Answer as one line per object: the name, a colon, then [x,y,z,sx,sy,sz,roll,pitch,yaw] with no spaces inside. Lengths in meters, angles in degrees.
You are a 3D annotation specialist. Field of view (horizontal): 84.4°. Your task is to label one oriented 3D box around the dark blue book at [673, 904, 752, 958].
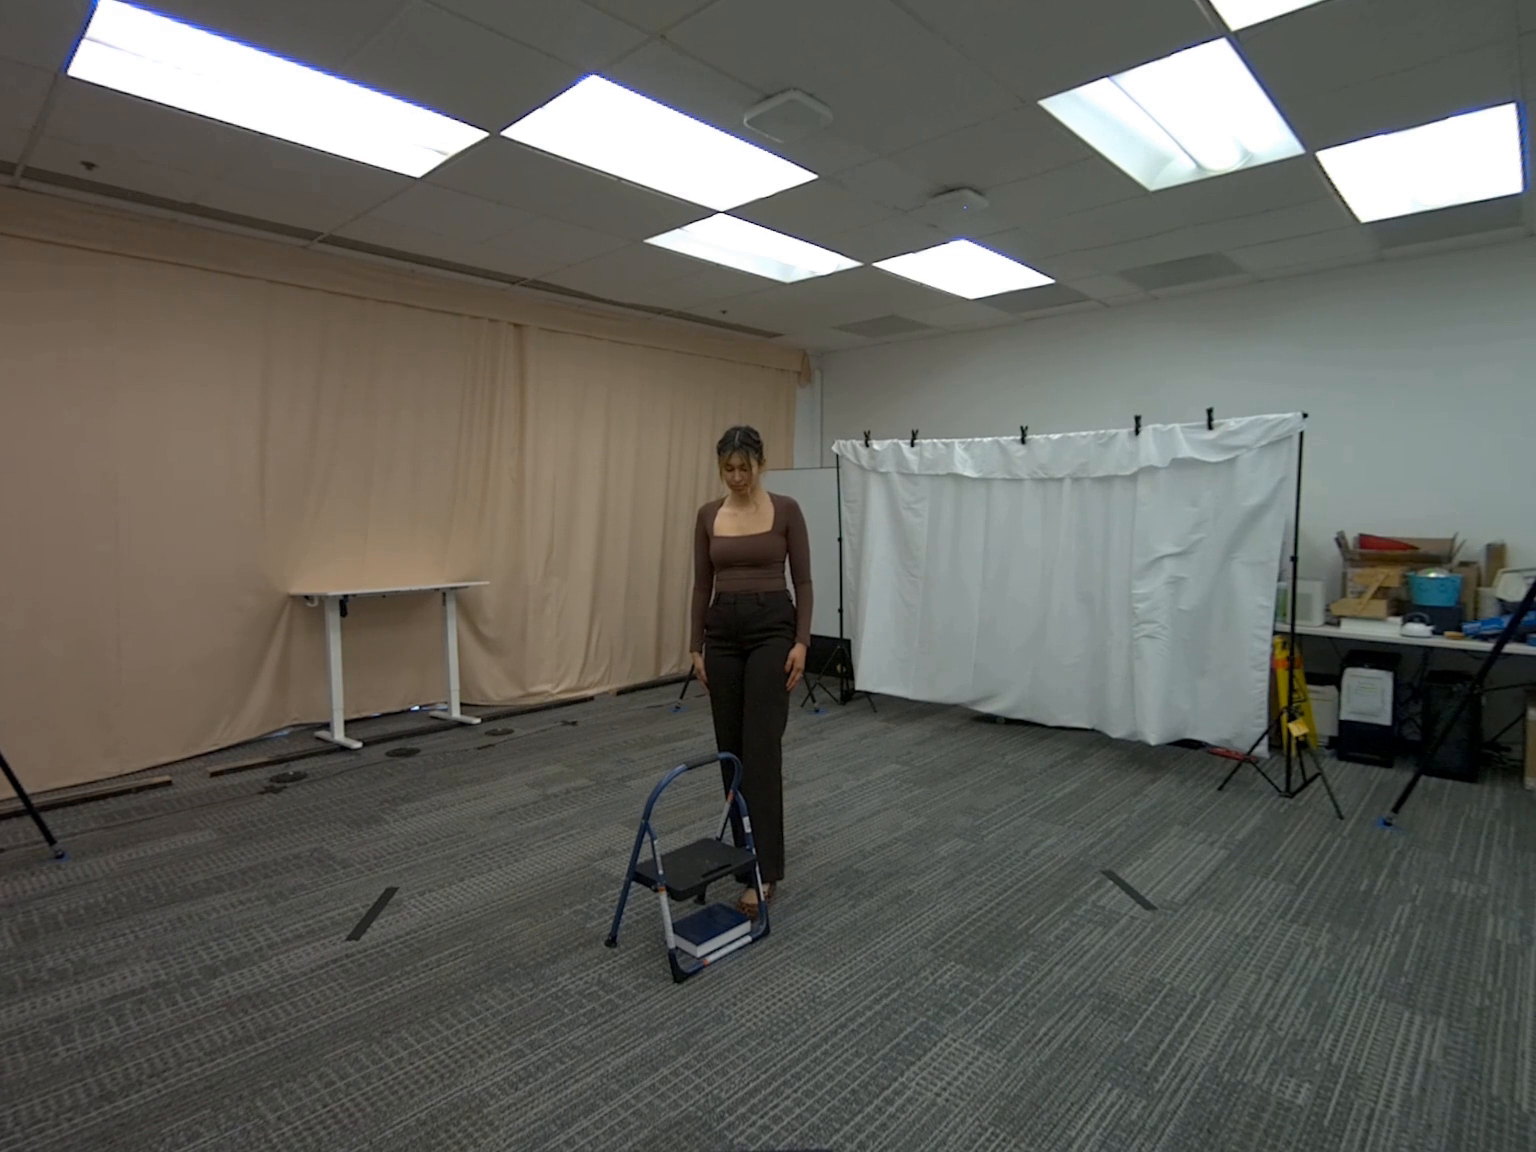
dark blue book: [-0.201,1.148,2.725,0.169,0.045,0.237,5,7,44]
